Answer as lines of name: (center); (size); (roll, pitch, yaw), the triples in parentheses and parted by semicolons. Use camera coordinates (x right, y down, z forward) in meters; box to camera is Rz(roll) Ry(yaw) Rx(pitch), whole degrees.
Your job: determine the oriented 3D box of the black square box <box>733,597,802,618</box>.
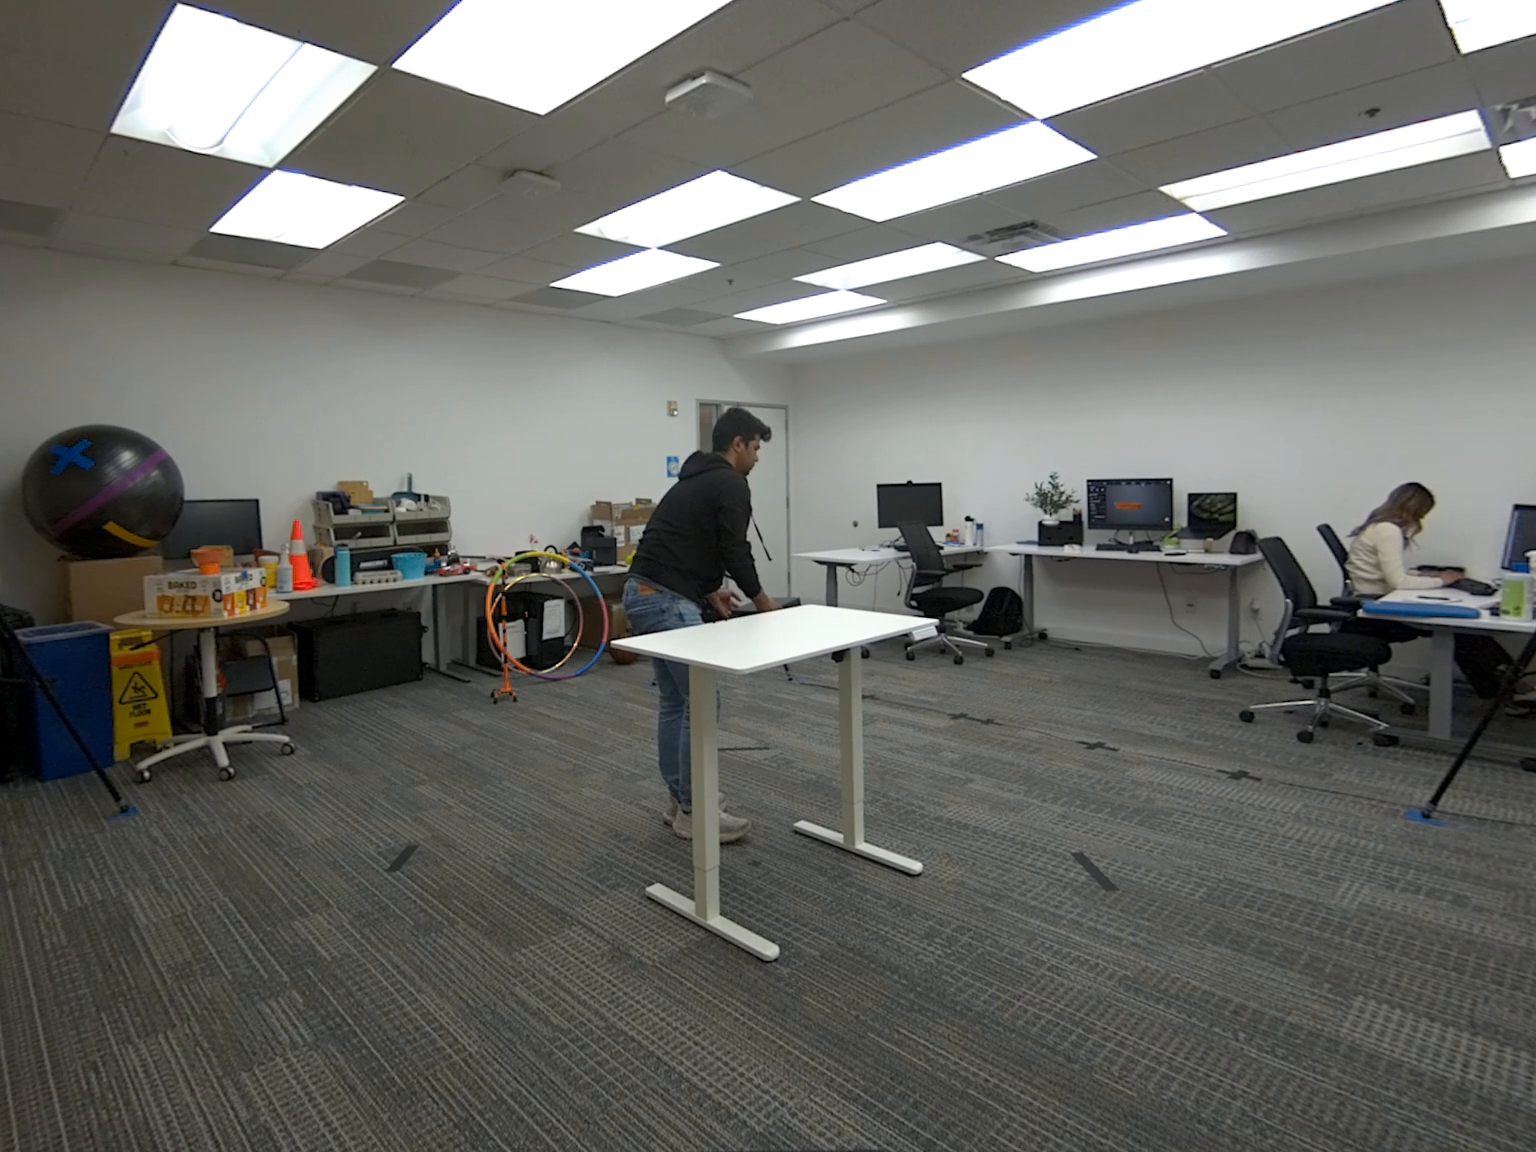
black square box: (0.009, 0.207, 3.732); (0.234, 0.154, 0.213); (-3, 12, 44)
